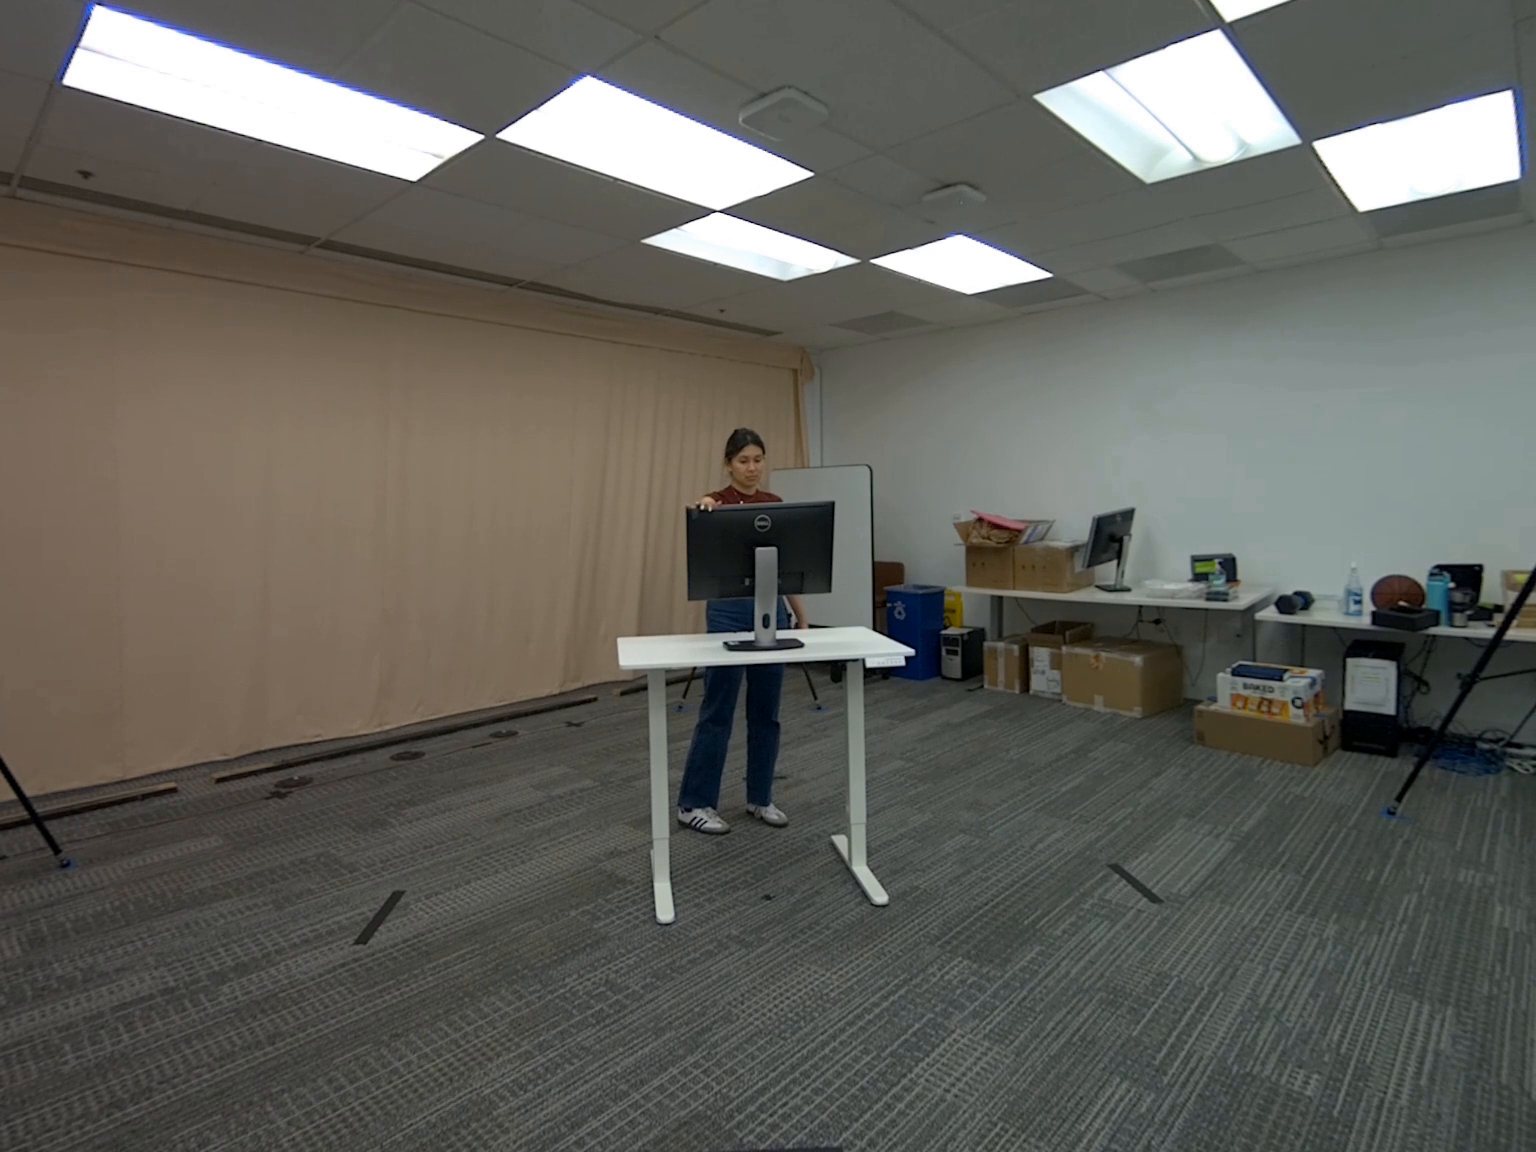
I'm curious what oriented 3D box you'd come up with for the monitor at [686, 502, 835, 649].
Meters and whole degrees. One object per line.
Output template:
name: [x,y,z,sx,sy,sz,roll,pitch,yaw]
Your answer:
monitor: [-0.016,0.004,2.998,0.534,0.520,0.190,-3,6,-10]
